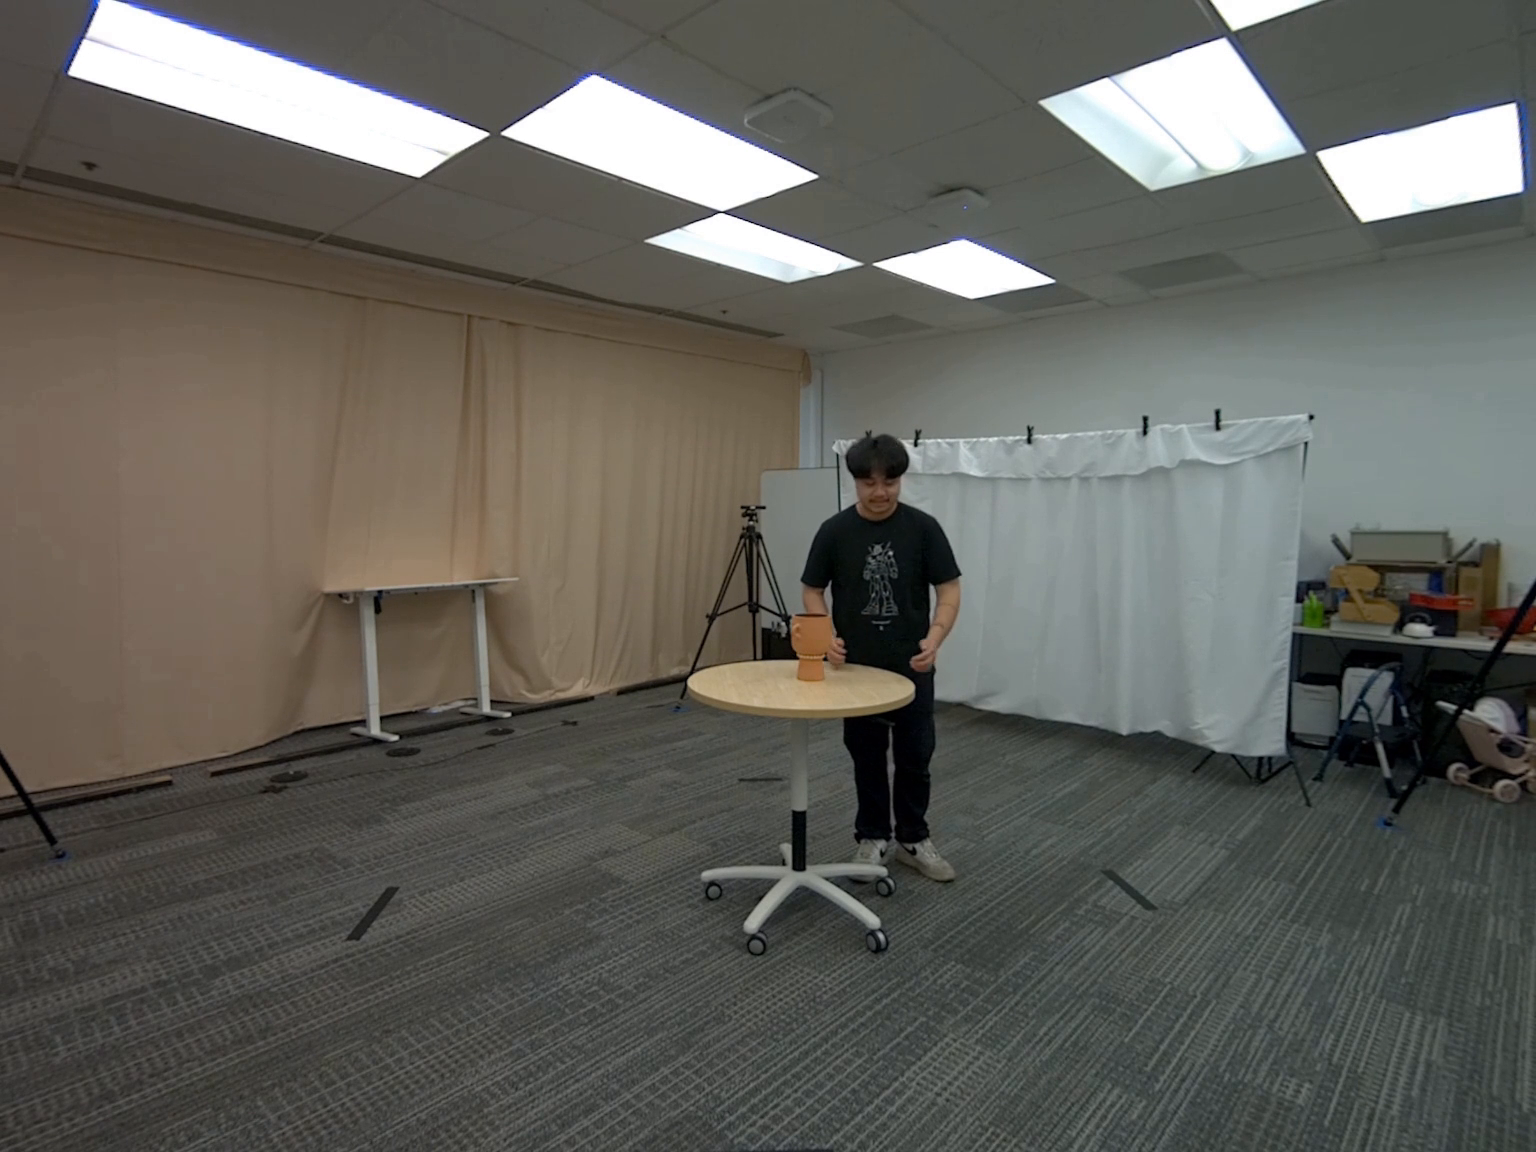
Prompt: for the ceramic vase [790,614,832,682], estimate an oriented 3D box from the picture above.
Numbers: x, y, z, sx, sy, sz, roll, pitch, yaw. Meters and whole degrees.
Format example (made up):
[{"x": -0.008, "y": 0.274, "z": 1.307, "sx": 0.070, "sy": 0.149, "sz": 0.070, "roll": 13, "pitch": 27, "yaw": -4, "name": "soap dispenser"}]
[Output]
[{"x": 0.155, "y": 0.249, "z": 2.909, "sx": 0.158, "sy": 0.219, "sz": 0.135, "roll": 1, "pitch": 4, "yaw": -5, "name": "ceramic vase"}]
